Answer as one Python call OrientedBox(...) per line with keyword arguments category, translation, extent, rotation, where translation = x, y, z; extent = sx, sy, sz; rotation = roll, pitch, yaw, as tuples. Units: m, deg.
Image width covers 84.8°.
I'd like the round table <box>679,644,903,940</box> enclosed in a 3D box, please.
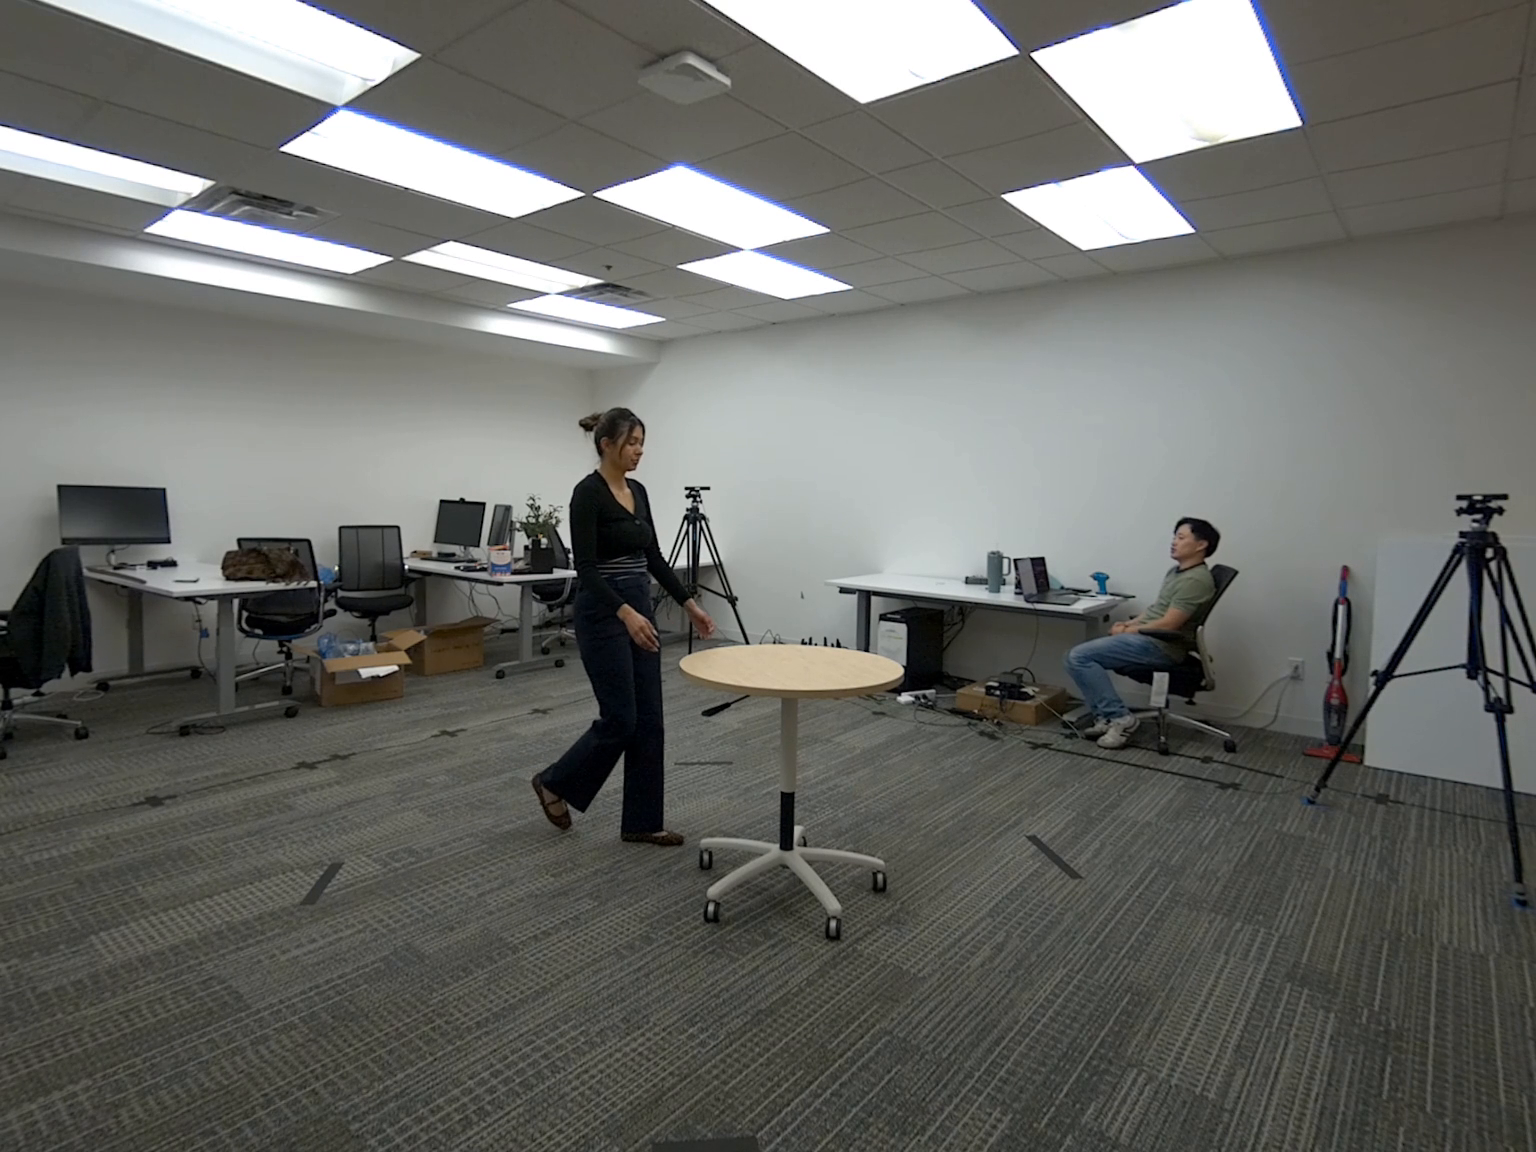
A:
OrientedBox(category="round table", translation=(0.057, 0.695, 2.945), extent=(0.763, 0.791, 0.768), rotation=(1, 4, -2))
